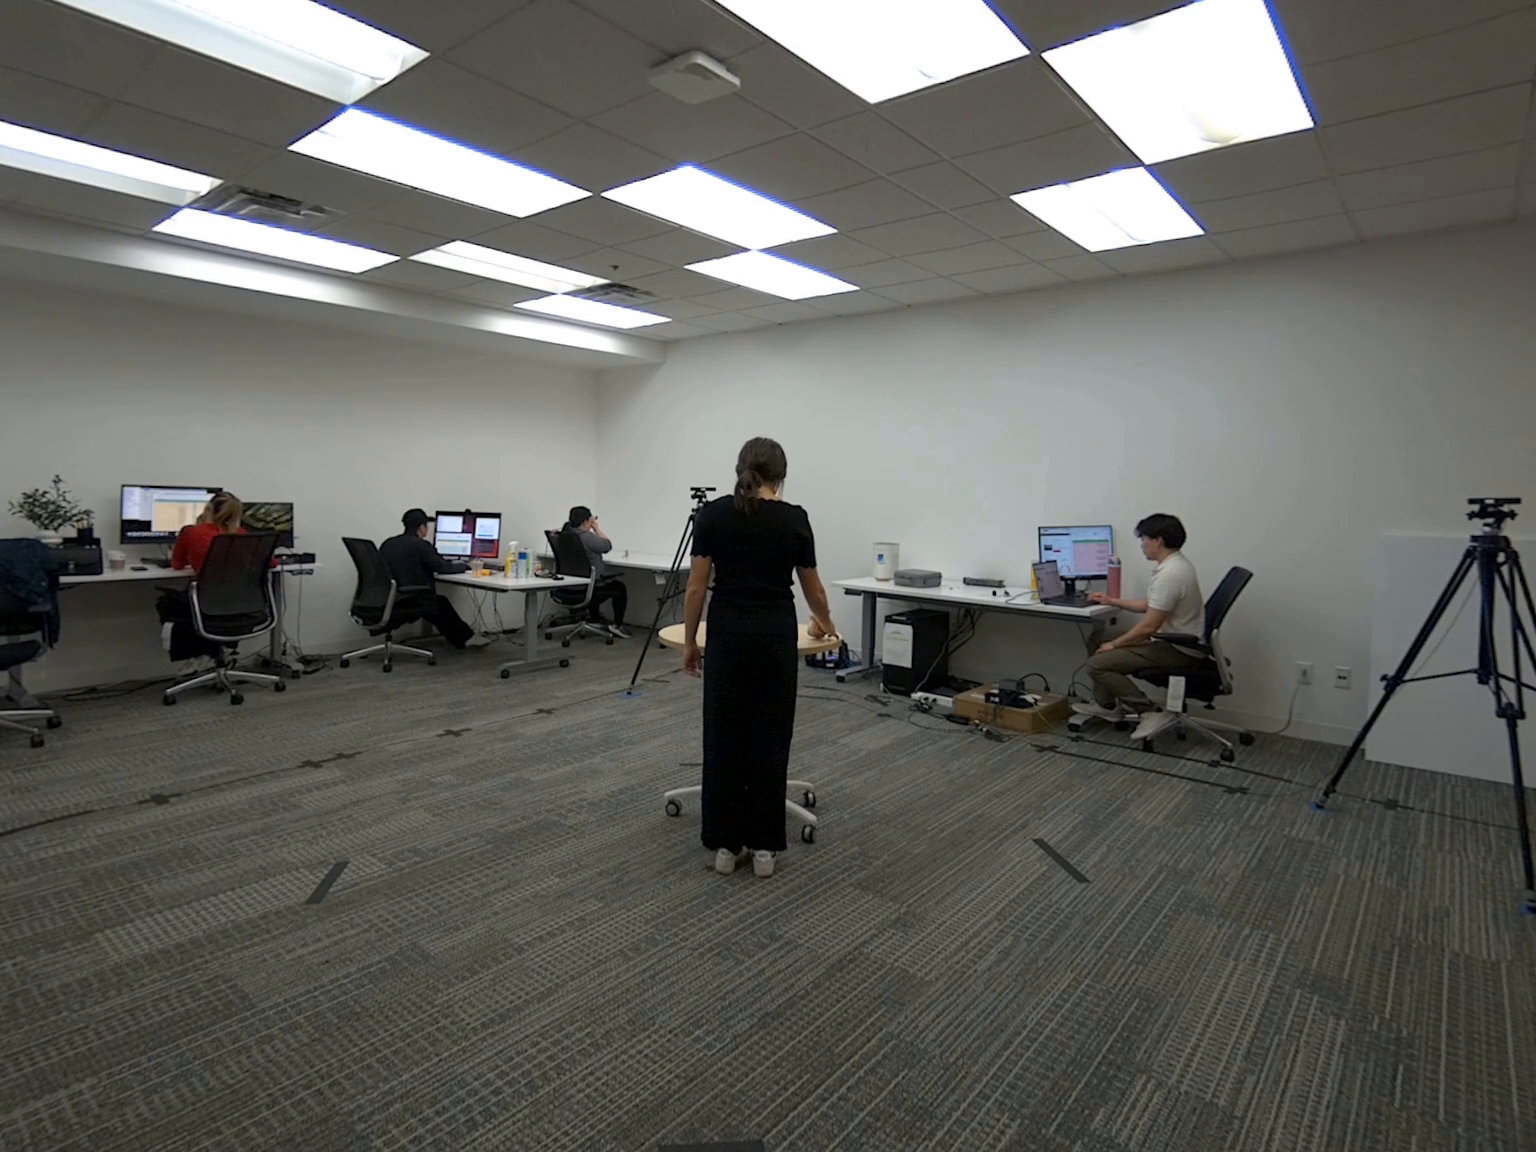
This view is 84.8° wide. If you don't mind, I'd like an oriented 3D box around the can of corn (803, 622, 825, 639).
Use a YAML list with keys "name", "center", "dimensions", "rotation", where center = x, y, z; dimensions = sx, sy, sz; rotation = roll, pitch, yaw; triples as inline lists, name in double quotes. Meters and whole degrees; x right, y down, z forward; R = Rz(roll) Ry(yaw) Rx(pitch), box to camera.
- name: "can of corn"
  center: [0.203, 0.186, 3.473]
  dimensions: [0.074, 0.113, 0.073]
  rotation: [10, -24, 2]
